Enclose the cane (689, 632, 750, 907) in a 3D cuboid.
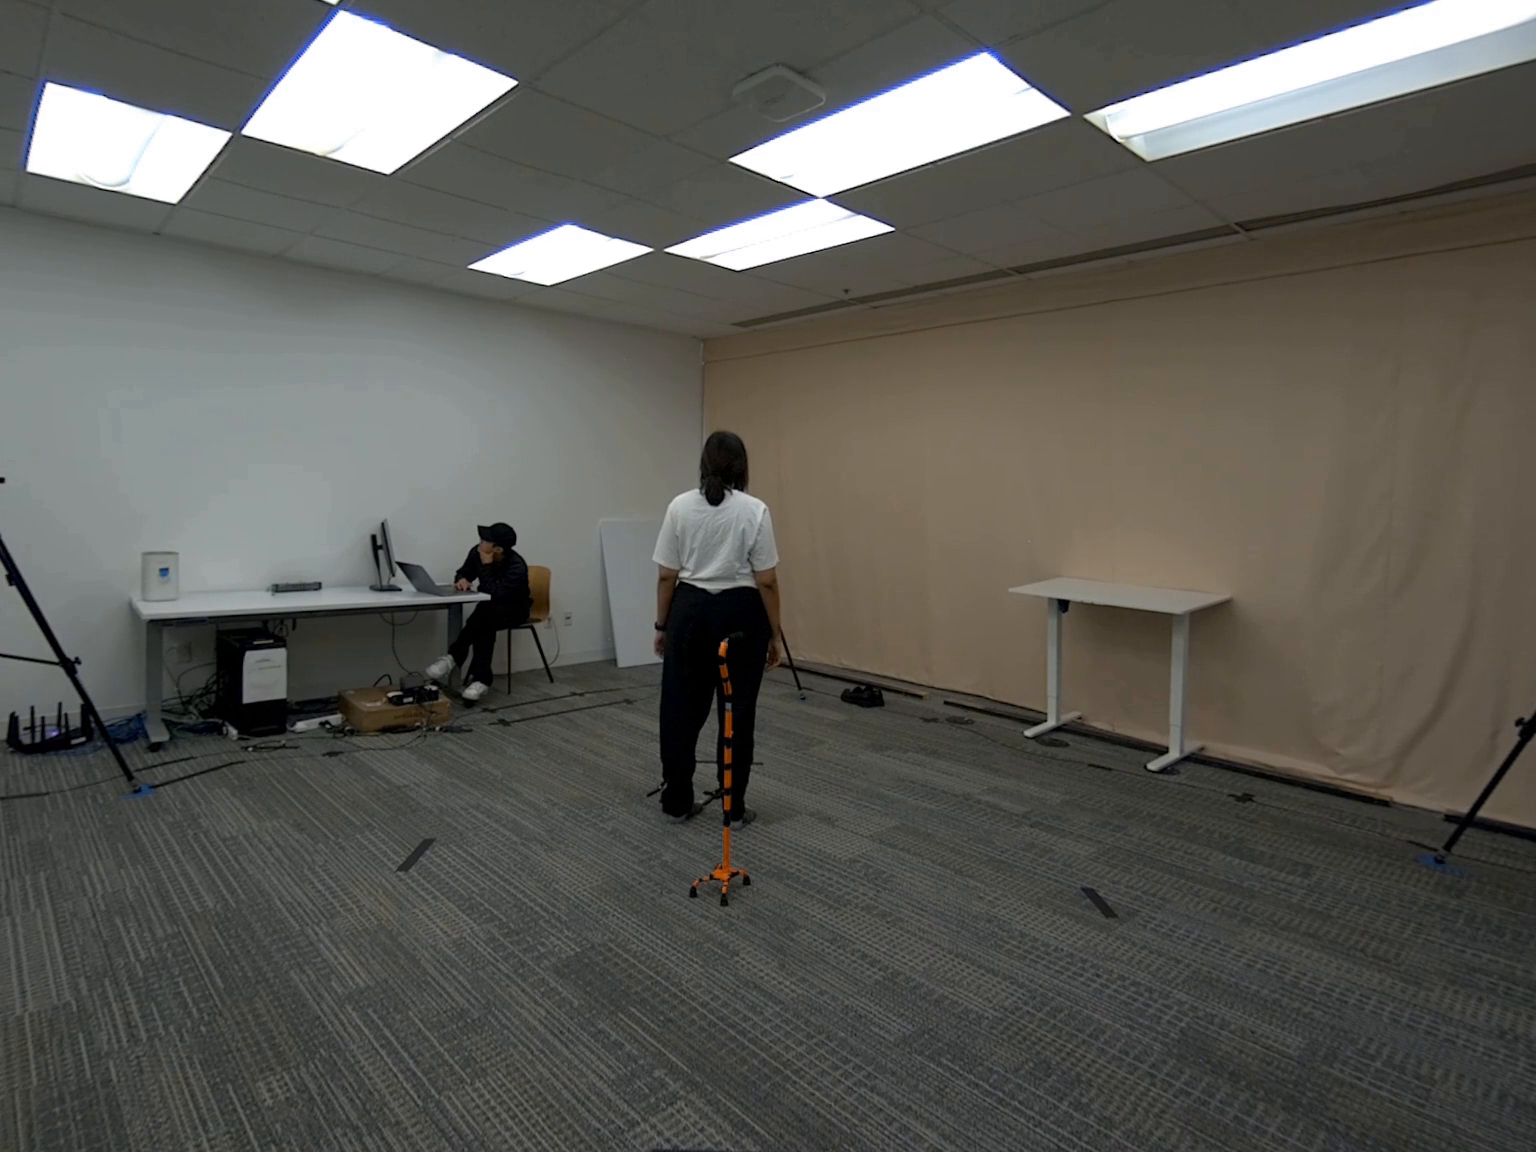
[{"bbox_3d":[-0.173,0.664,2.955,0.154,0.906,0.203,2,3,26],"label":"cane"}]
